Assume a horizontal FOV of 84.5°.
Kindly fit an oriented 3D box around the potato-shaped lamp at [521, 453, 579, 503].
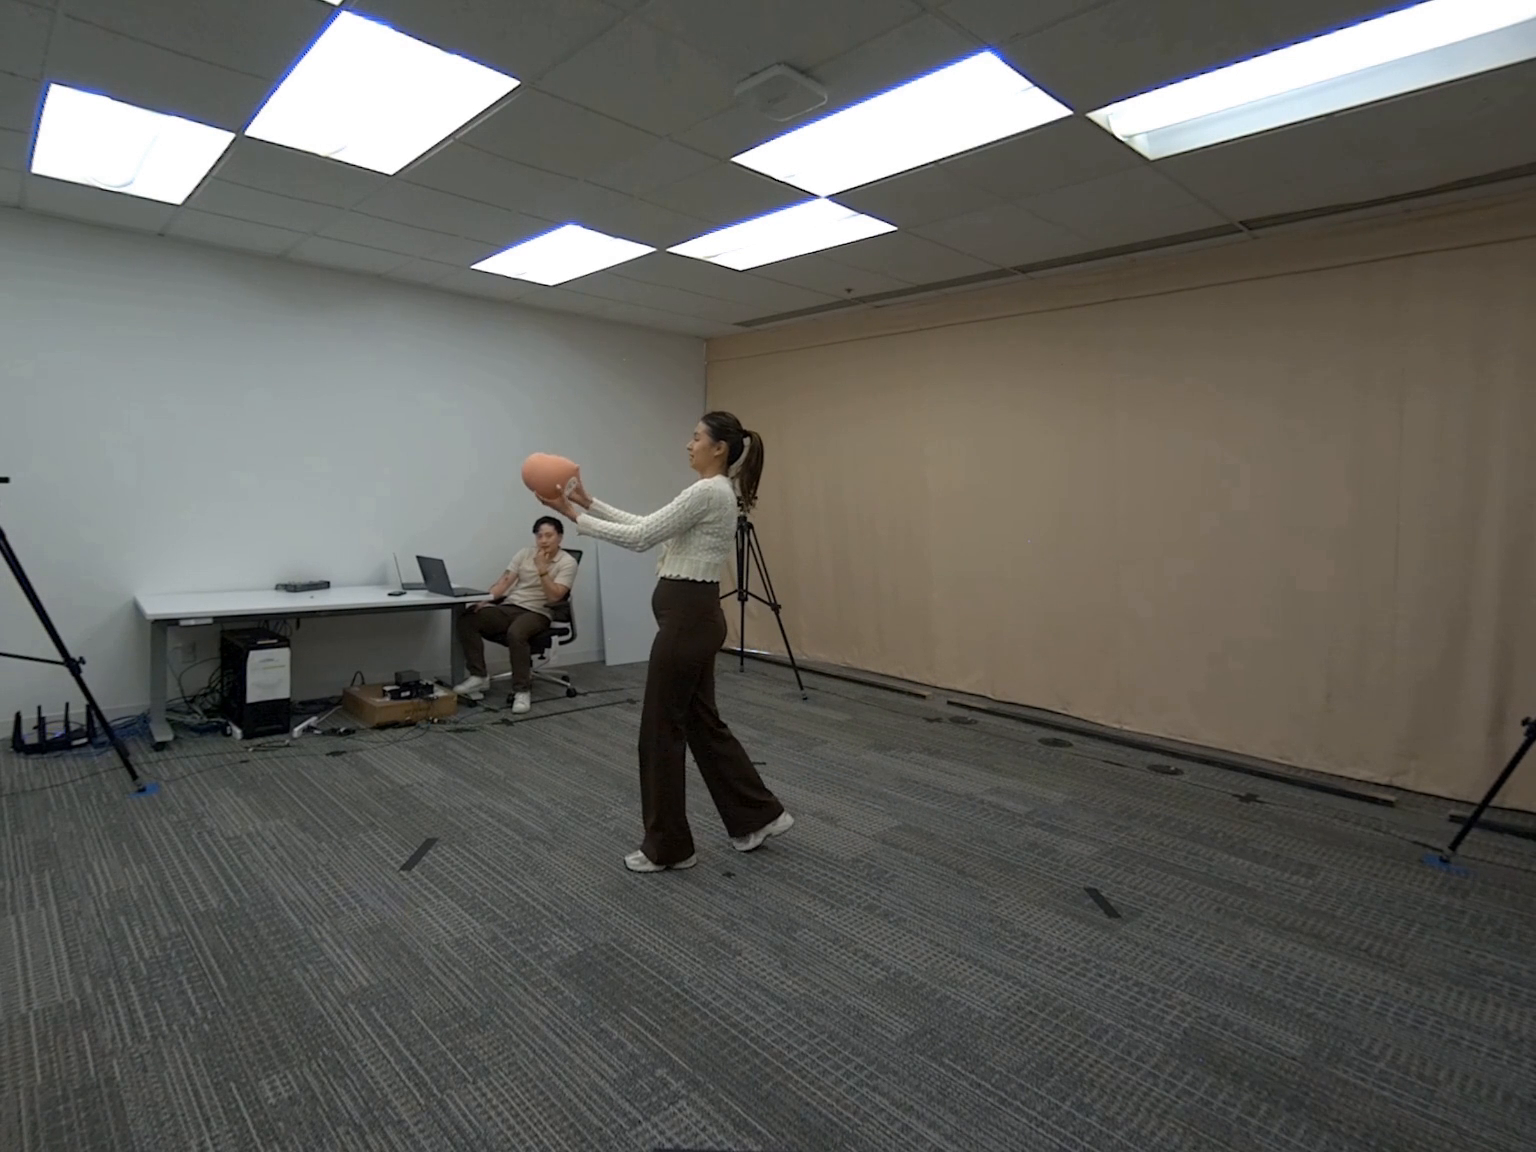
[{"bbox_3d":[-0.812,-0.366,3.105,0.198,0.172,0.164,15,-12,-1],"label":"potato-shaped lamp"}]
